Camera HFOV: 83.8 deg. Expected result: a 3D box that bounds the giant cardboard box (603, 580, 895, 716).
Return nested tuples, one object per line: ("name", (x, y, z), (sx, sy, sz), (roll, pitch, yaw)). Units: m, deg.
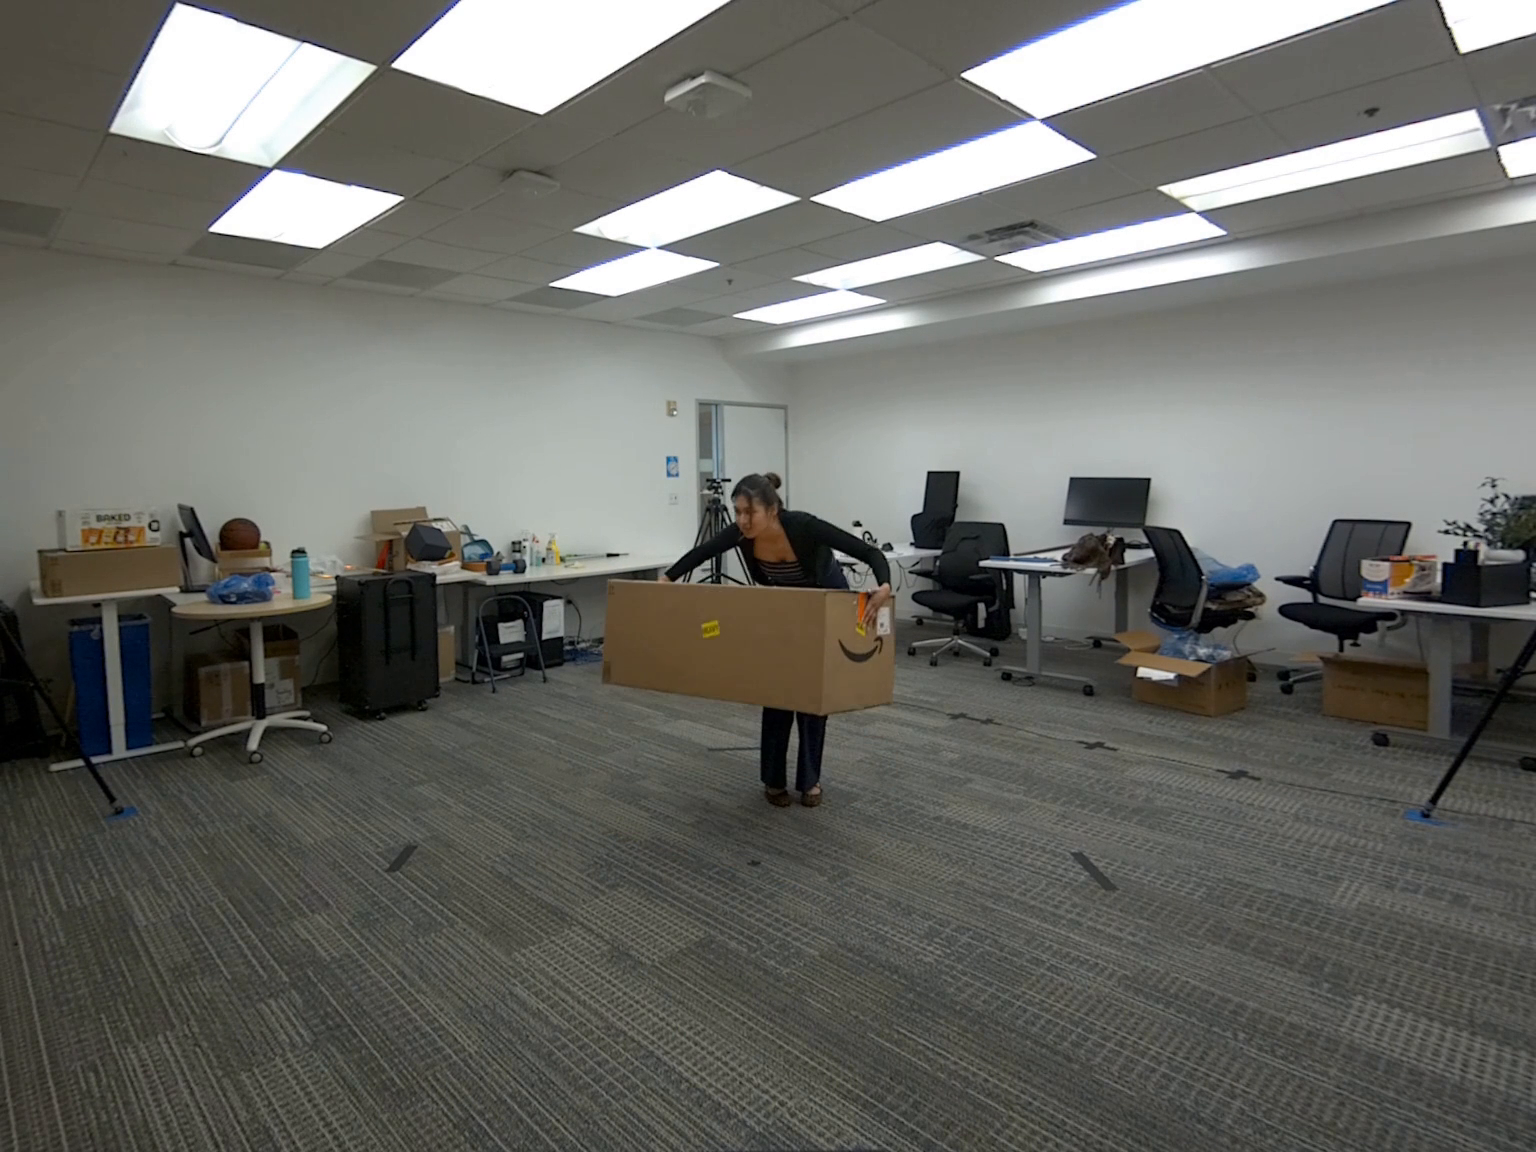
("giant cardboard box", (-0.092, 0.268, 3.408), (1.055, 0.427, 0.560), (2, -3, 35))
